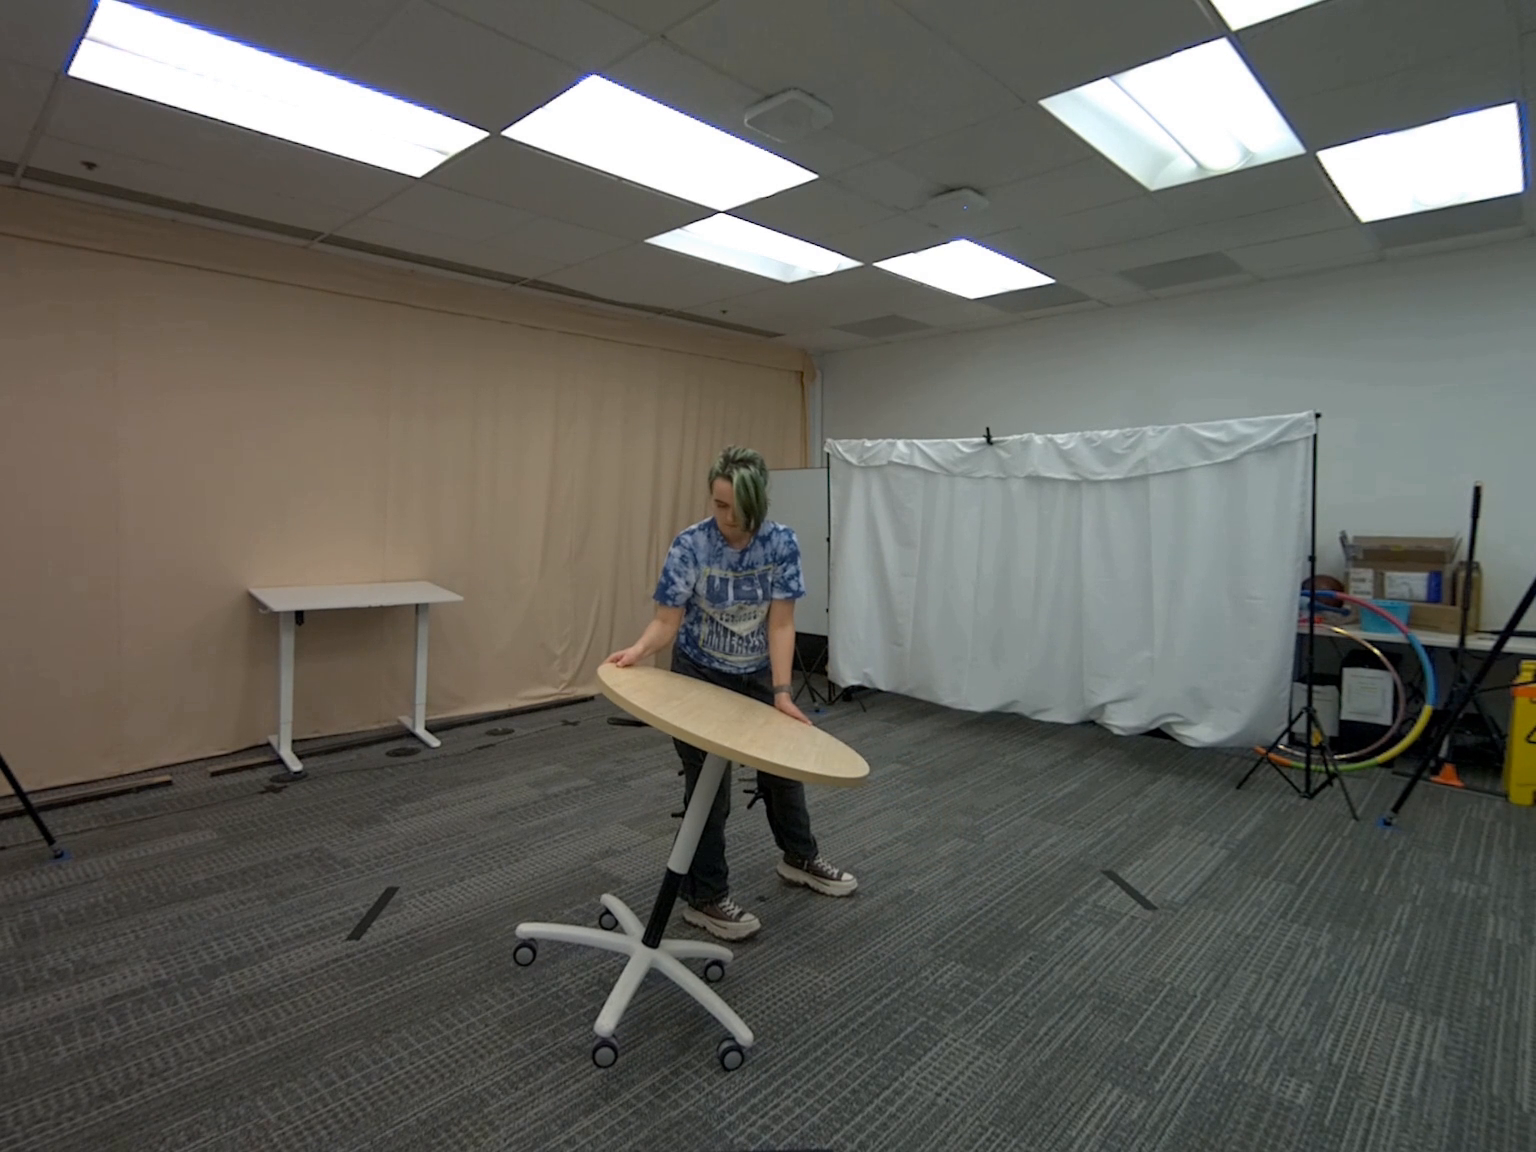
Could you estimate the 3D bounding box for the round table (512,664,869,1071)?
[{"bbox_3d":[-0.236,0.750,2.249,0.763,0.794,0.765,20,1,-2],"label":"round table"}]
